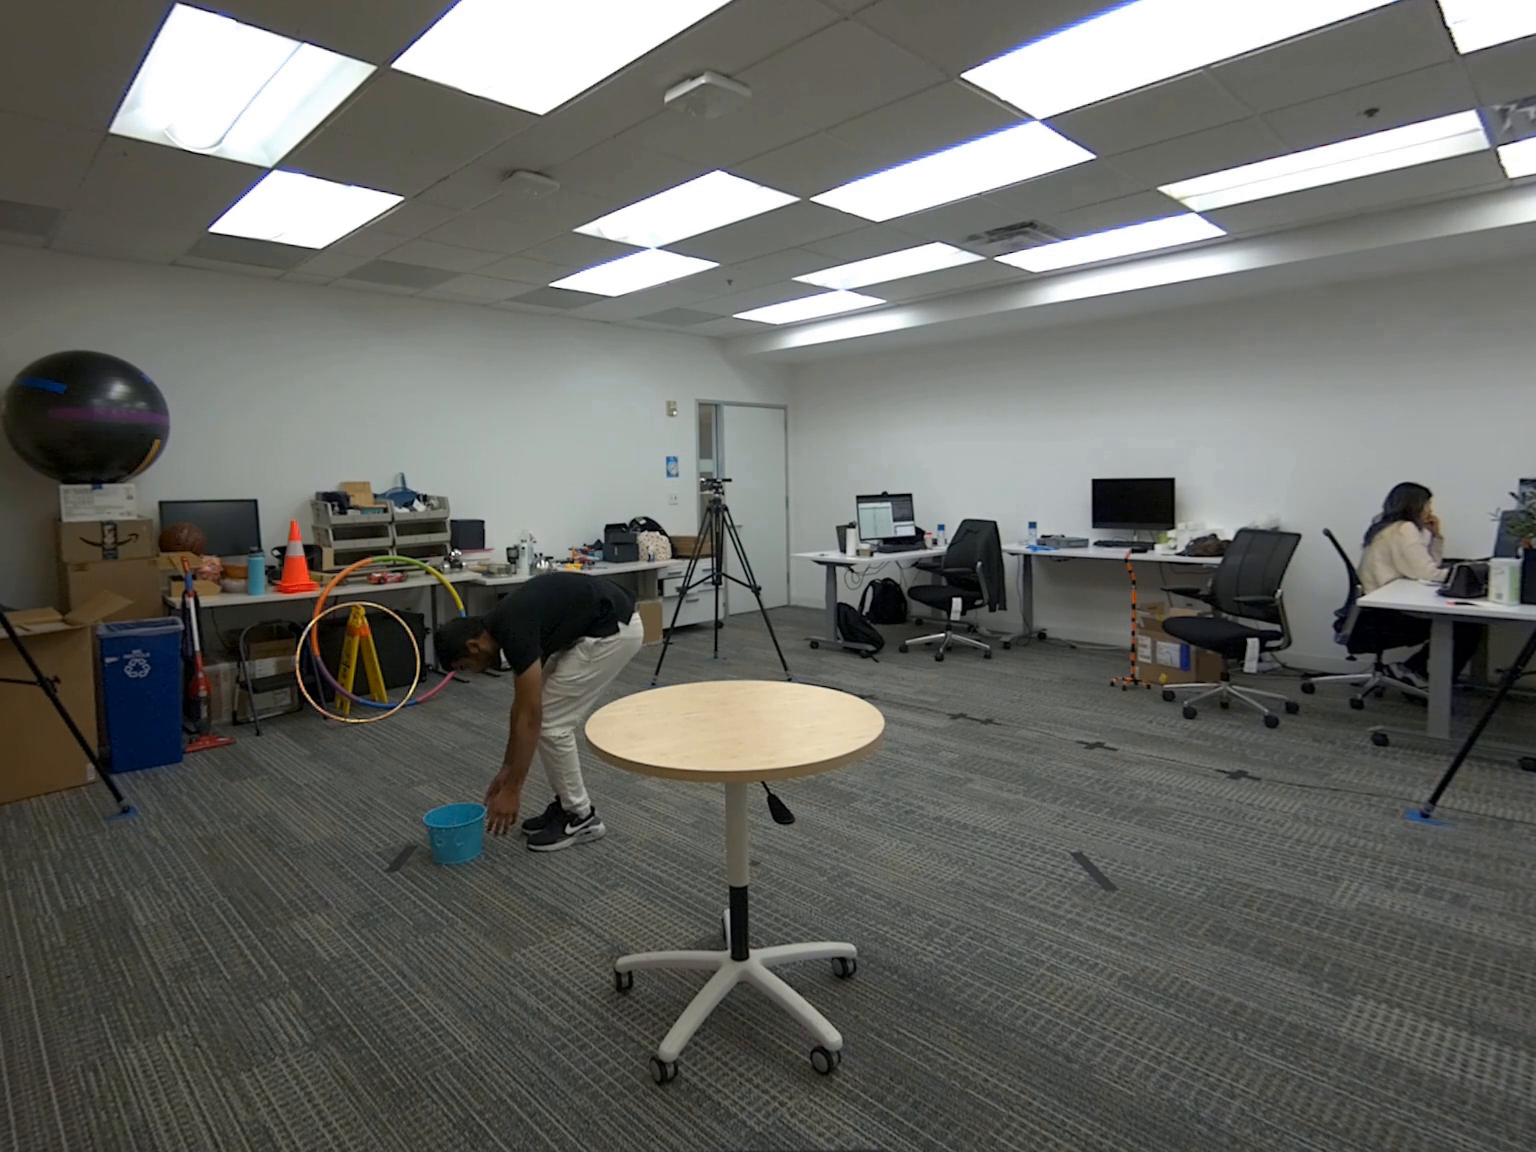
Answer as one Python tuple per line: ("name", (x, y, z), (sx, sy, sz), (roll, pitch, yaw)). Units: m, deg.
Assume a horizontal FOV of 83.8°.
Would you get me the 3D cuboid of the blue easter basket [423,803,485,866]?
("blue easter basket", (-1.170, 0.973, 3.238), (0.243, 0.155, 0.245), (-1, 6, -2))
